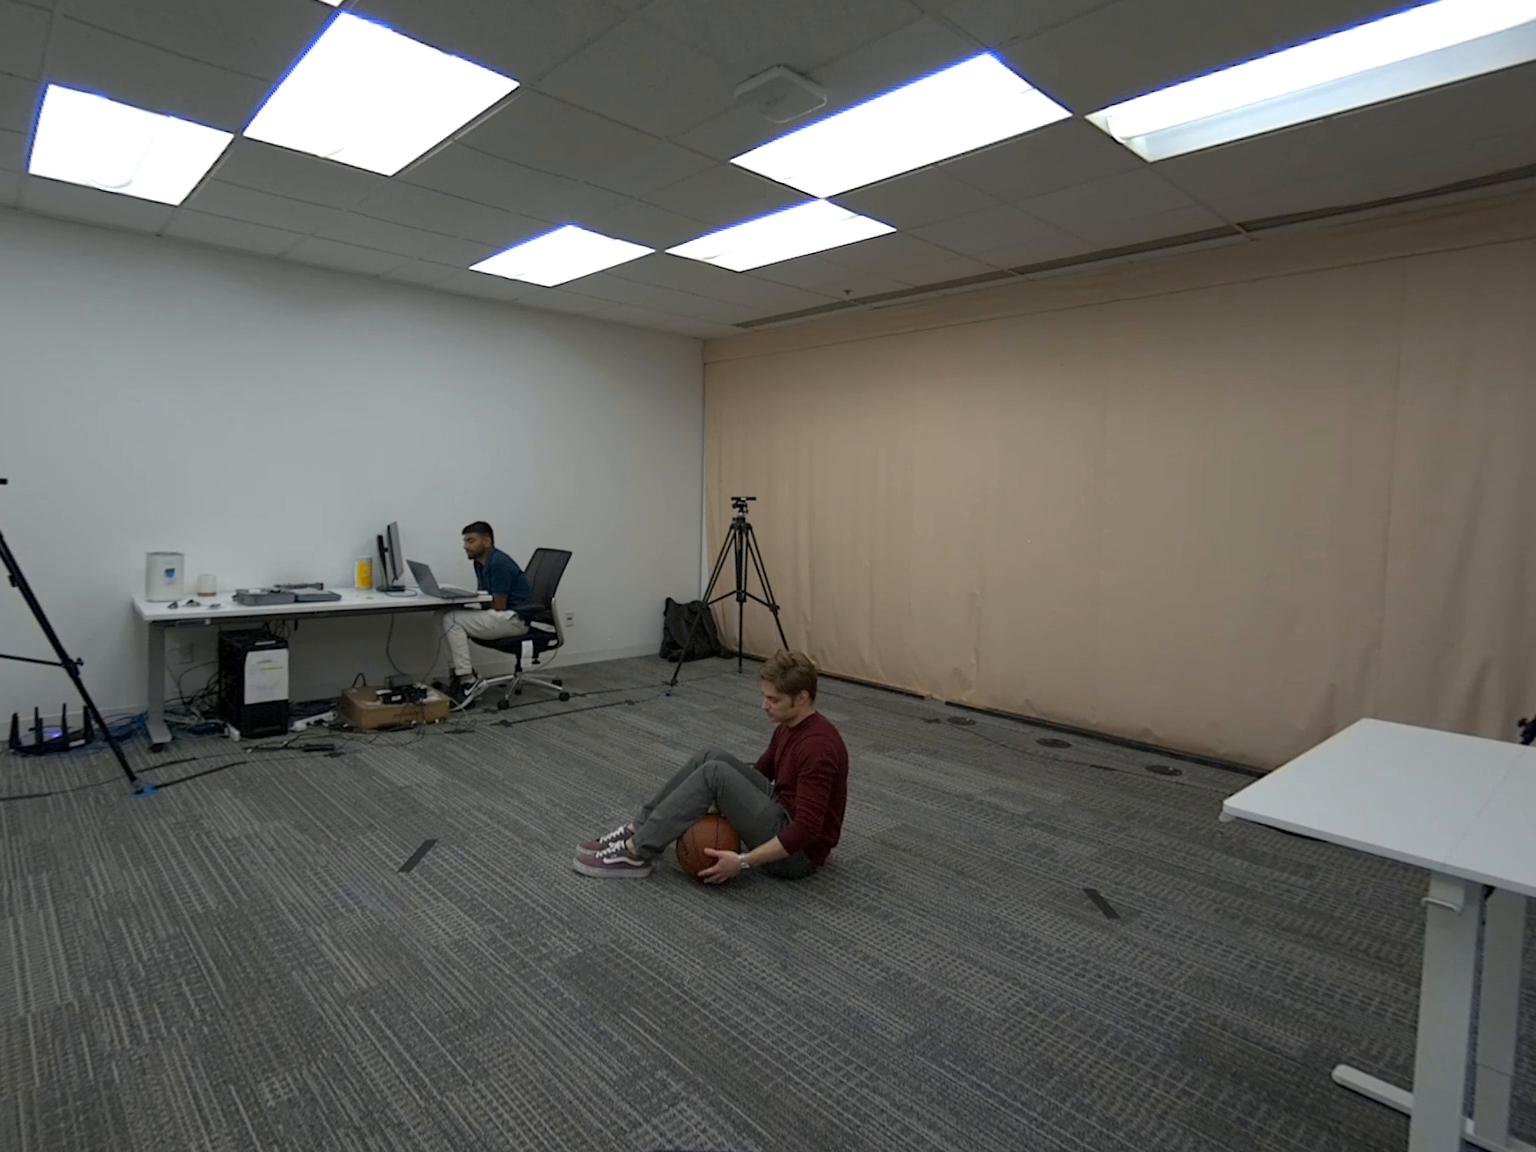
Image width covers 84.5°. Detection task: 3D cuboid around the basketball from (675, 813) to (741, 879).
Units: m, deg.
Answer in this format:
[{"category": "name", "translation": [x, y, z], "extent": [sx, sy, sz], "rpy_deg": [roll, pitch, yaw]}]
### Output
[{"category": "basketball", "translation": [-0.217, 0.987, 3.069], "extent": [0.236, 0.235, 0.237], "rpy_deg": [1, 4, -1]}]
